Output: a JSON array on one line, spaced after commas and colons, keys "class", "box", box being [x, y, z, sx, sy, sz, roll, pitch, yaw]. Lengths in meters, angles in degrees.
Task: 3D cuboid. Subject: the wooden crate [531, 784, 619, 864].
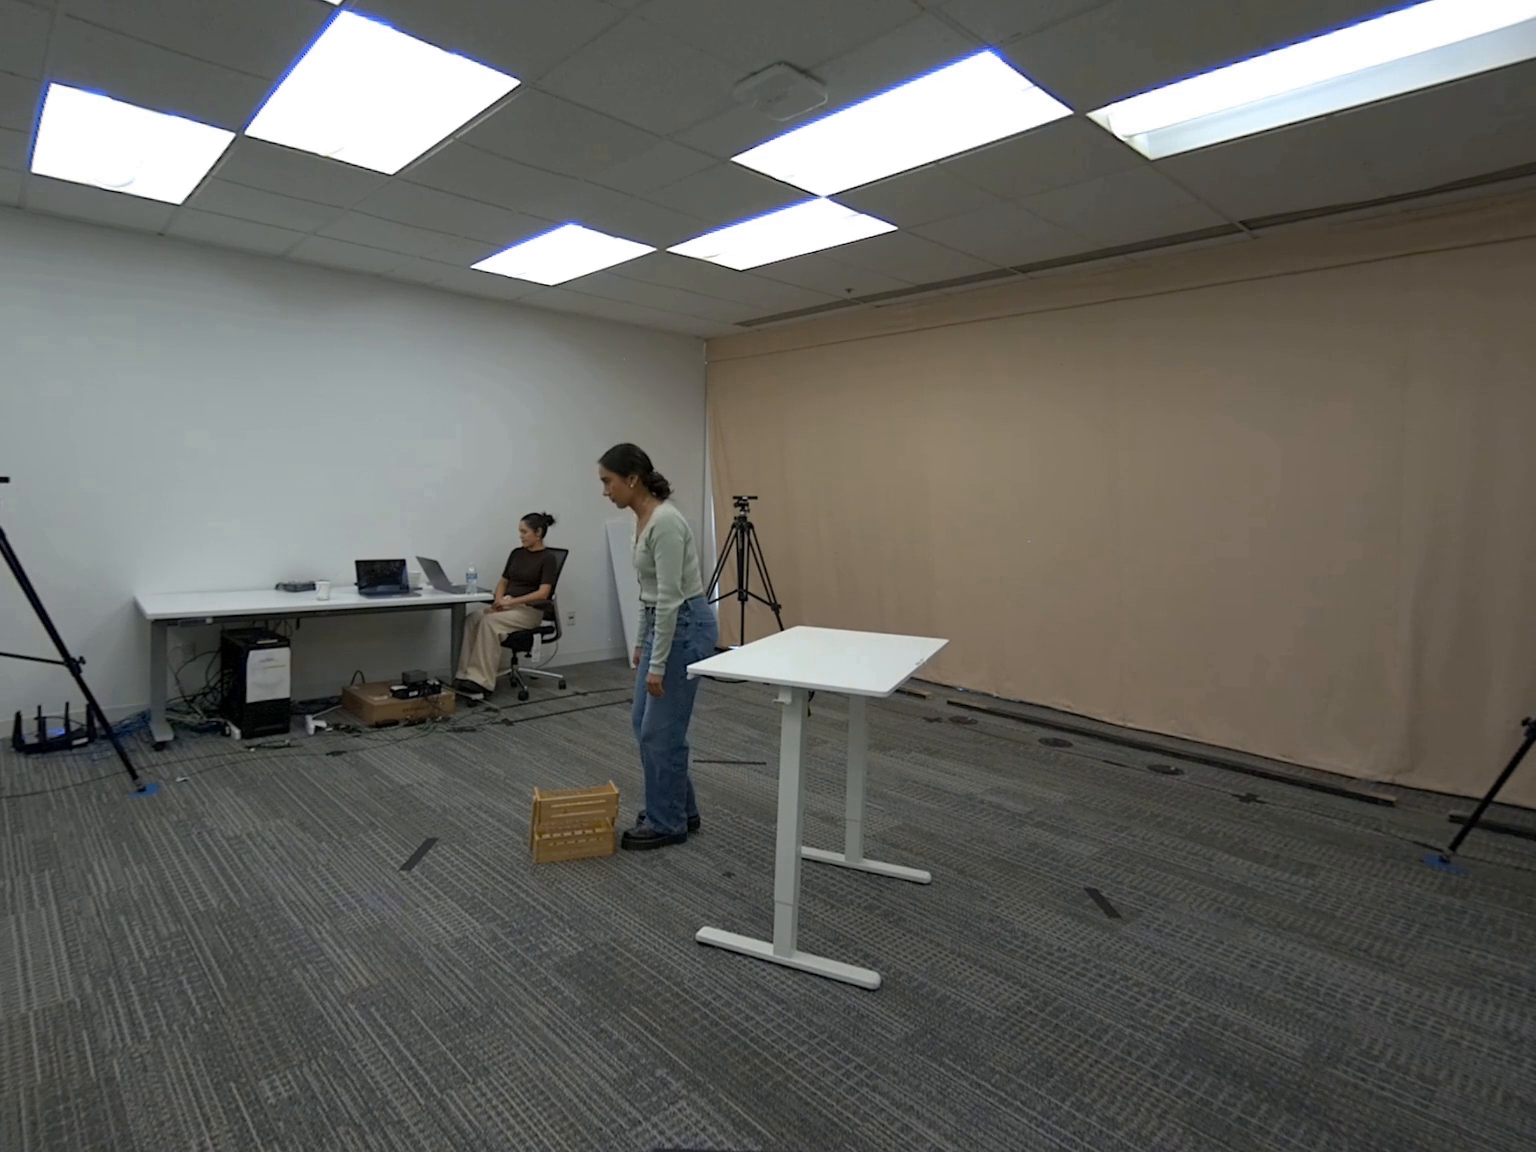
[{"class": "wooden crate", "box": [-0.779, 0.939, 3.296, 0.319, 0.272, 0.307, 0, 5, -21]}]
